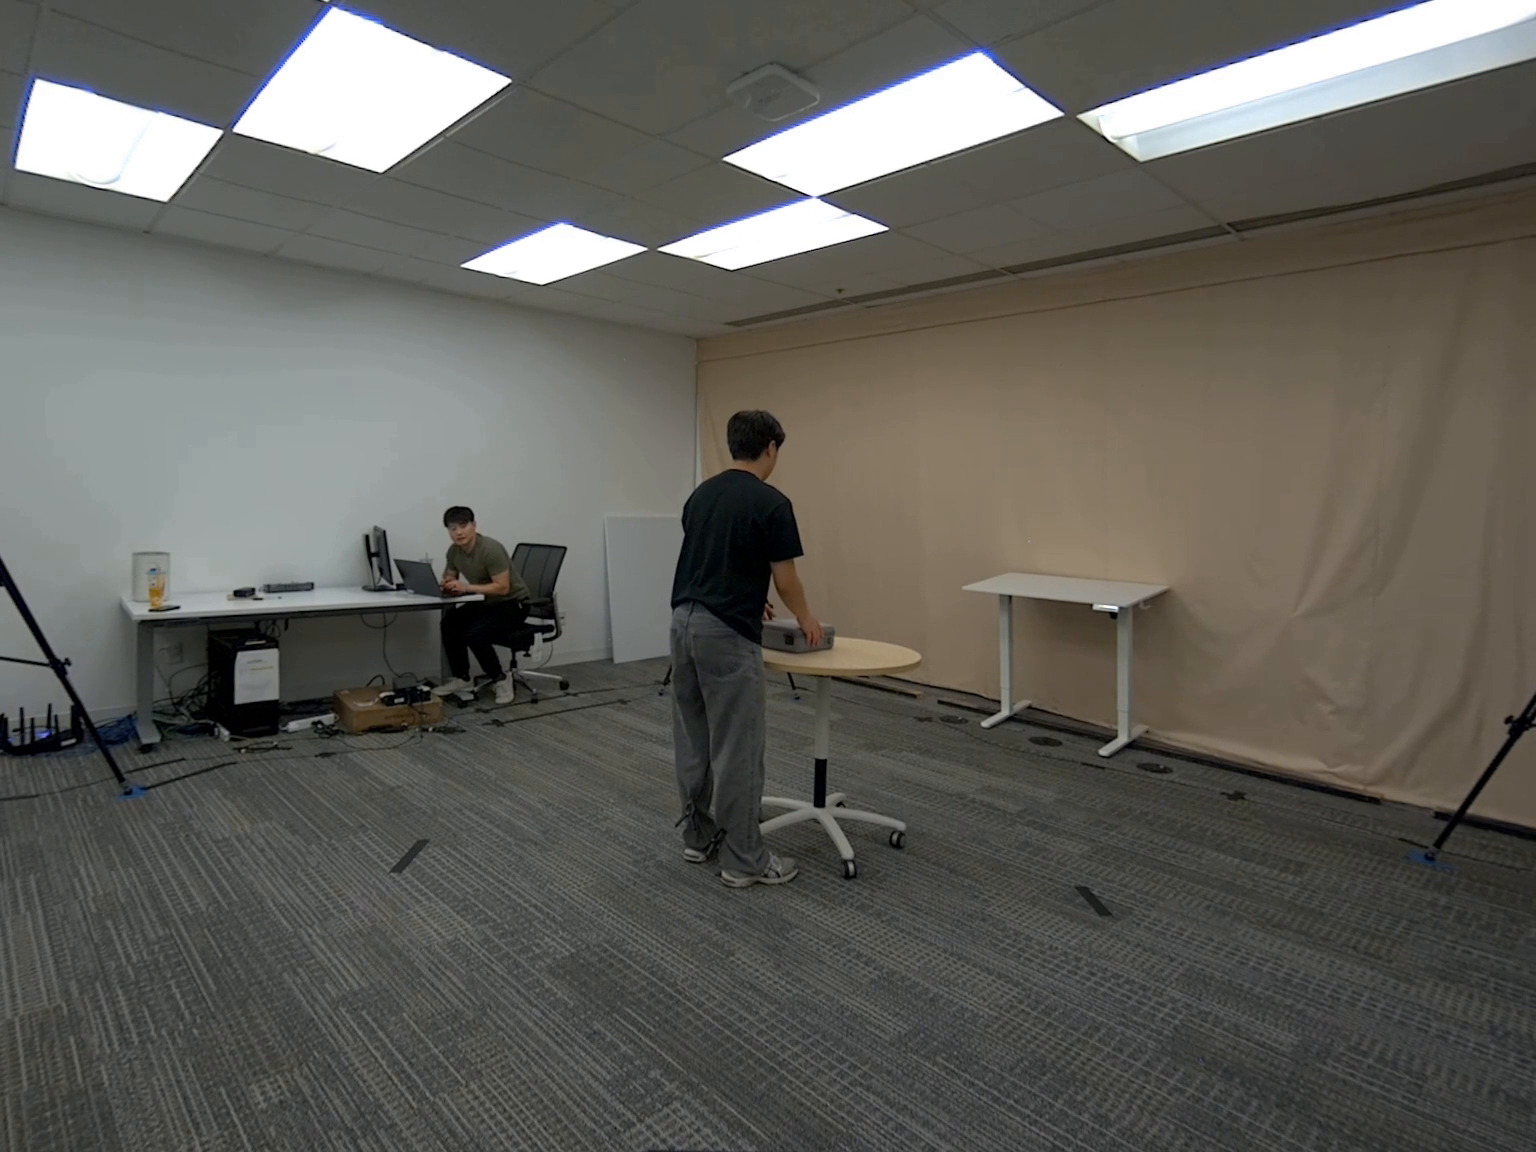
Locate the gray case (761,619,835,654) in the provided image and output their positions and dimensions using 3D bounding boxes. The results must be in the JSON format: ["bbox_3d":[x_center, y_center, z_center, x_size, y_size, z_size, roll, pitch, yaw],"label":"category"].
[{"bbox_3d":[0.115,0.244,3.480,0.270,0.103,0.280,6,6,42],"label":"gray case"}]
